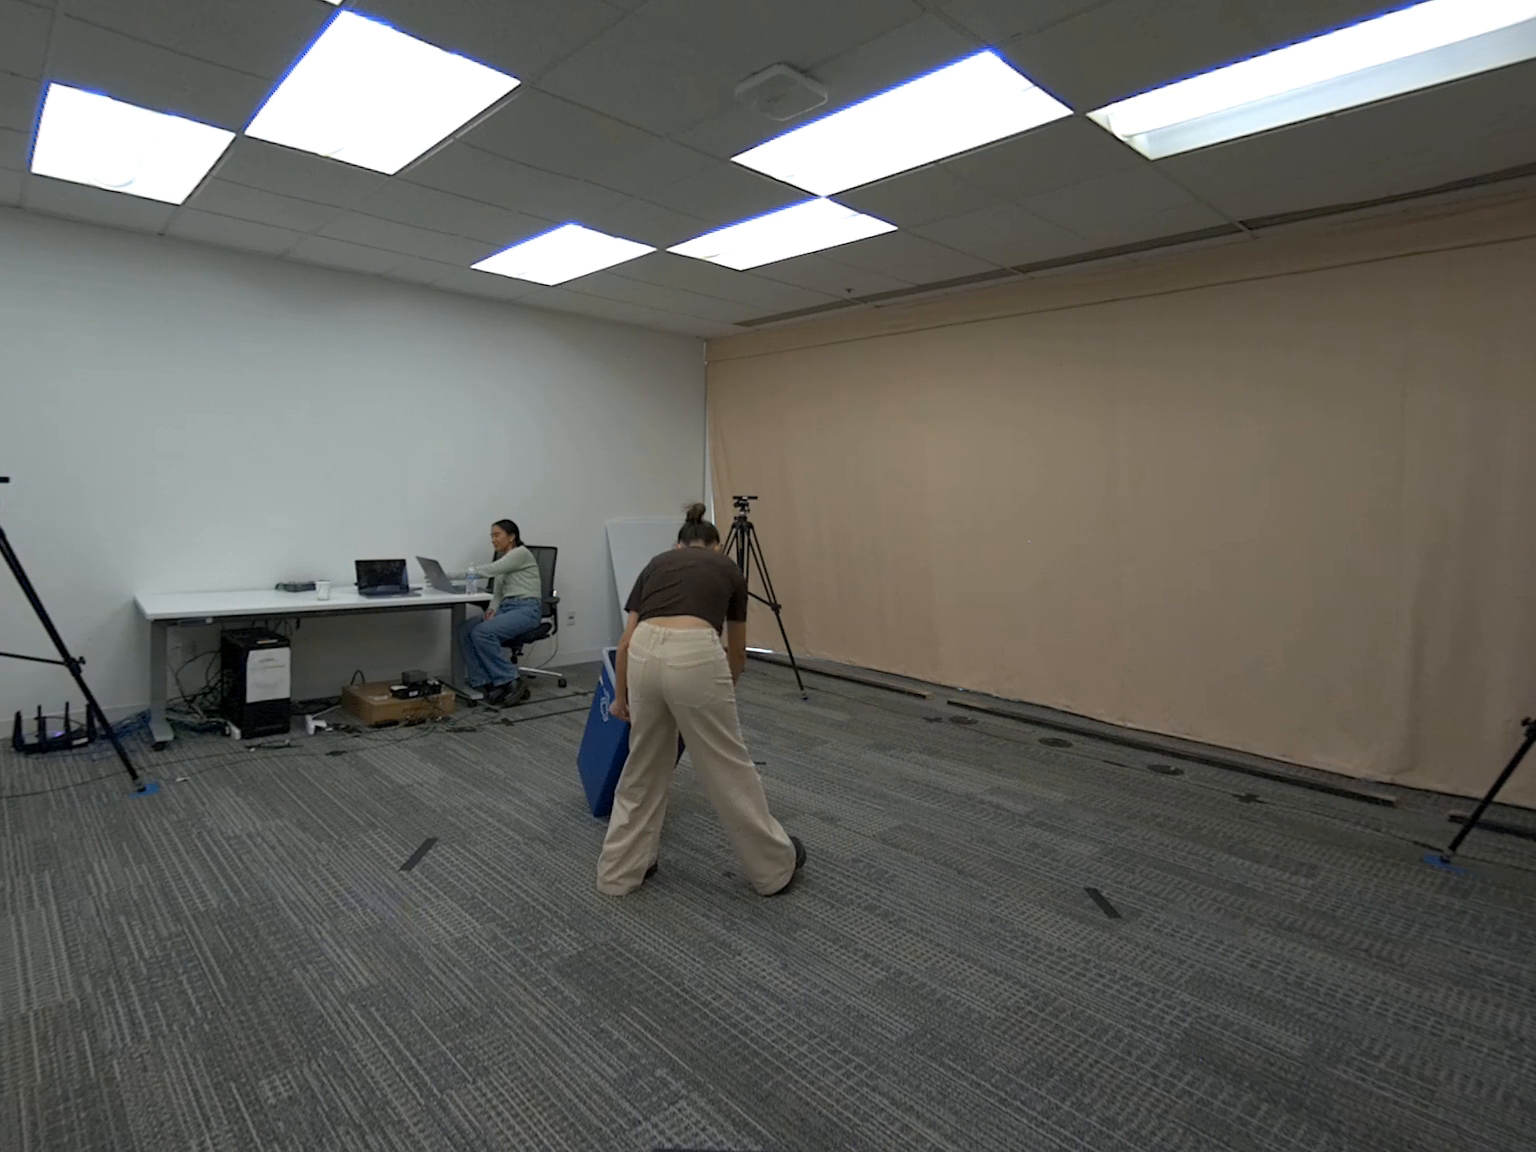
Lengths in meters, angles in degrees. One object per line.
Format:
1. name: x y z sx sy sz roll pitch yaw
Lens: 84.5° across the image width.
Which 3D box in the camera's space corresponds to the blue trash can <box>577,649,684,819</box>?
1. blue trash can: -0.550 0.679 3.594 0.370 0.705 0.386 -3 41 -31
